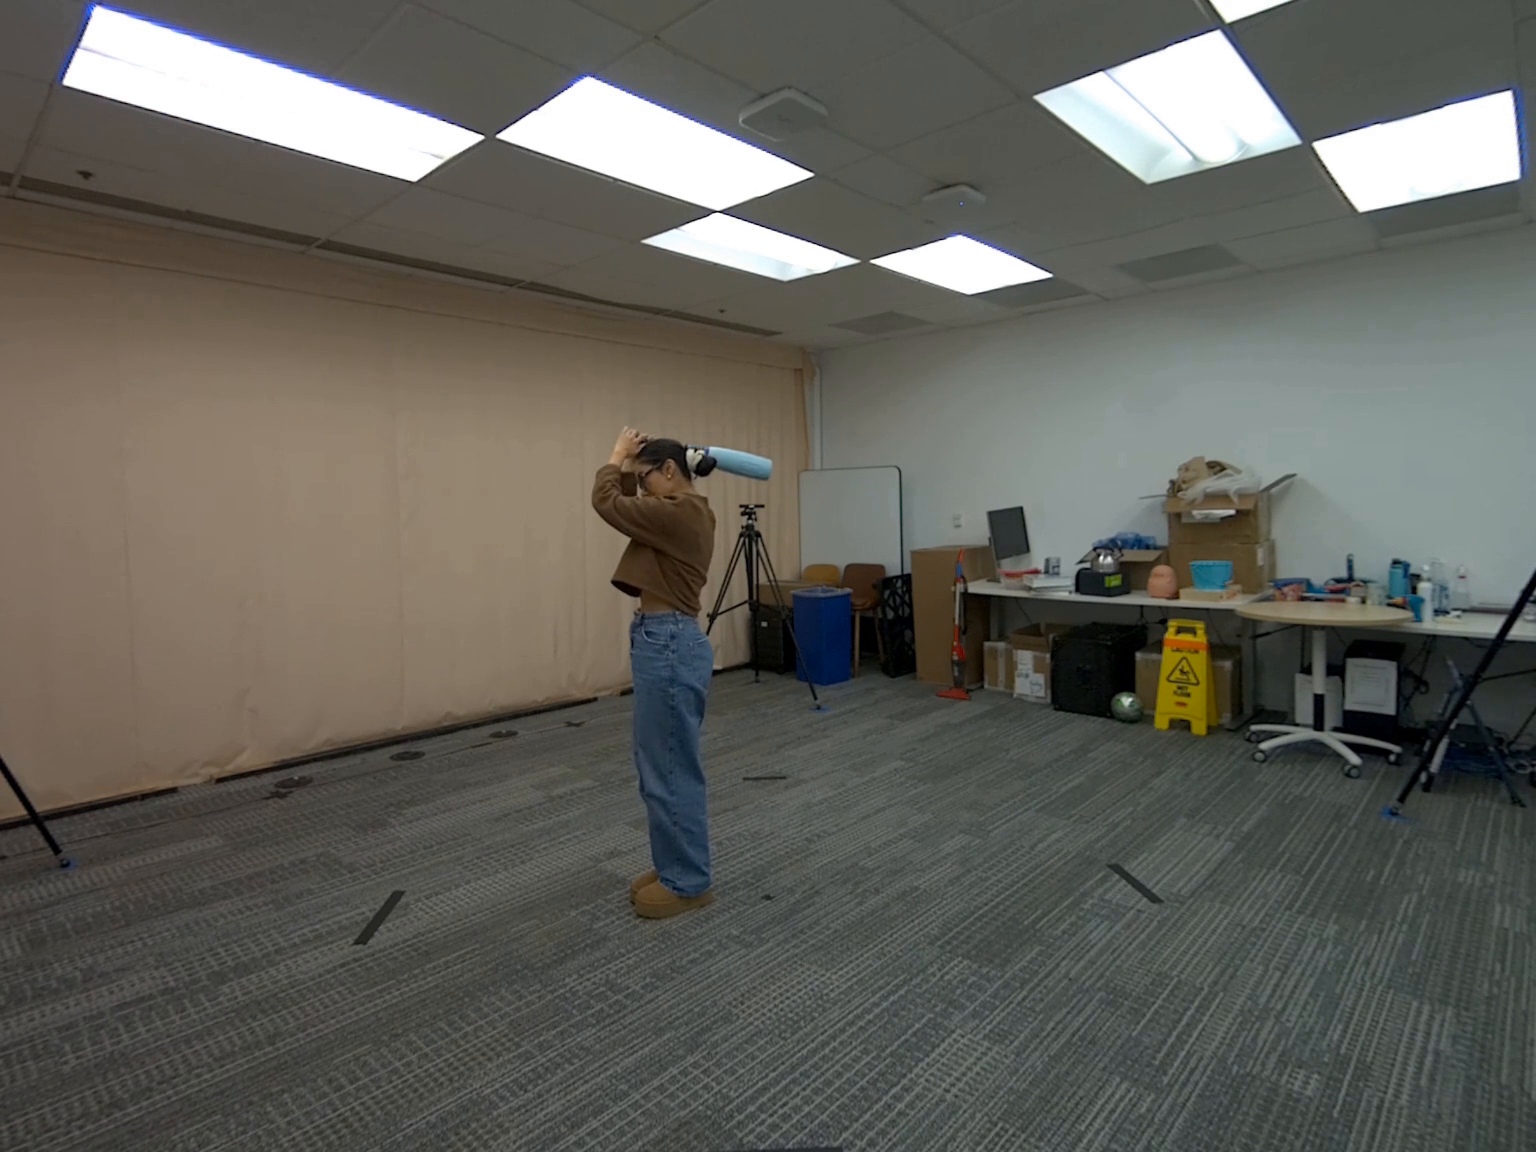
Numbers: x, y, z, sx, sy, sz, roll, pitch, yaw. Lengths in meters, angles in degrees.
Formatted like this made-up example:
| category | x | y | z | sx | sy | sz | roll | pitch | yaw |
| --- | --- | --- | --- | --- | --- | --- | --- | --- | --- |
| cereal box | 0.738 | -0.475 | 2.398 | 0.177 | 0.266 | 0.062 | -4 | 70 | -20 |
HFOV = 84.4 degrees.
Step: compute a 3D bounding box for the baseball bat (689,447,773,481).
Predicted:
| category | x | y | z | sx | sy | sz | roll | pitch | yaw |
| --- | --- | --- | --- | --- | --- | --- | --- | --- | --- |
| baseball bat | -0.250 | -0.449 | 3.174 | 0.539 | 0.089 | 0.090 | 13 | 2 | -6 |
